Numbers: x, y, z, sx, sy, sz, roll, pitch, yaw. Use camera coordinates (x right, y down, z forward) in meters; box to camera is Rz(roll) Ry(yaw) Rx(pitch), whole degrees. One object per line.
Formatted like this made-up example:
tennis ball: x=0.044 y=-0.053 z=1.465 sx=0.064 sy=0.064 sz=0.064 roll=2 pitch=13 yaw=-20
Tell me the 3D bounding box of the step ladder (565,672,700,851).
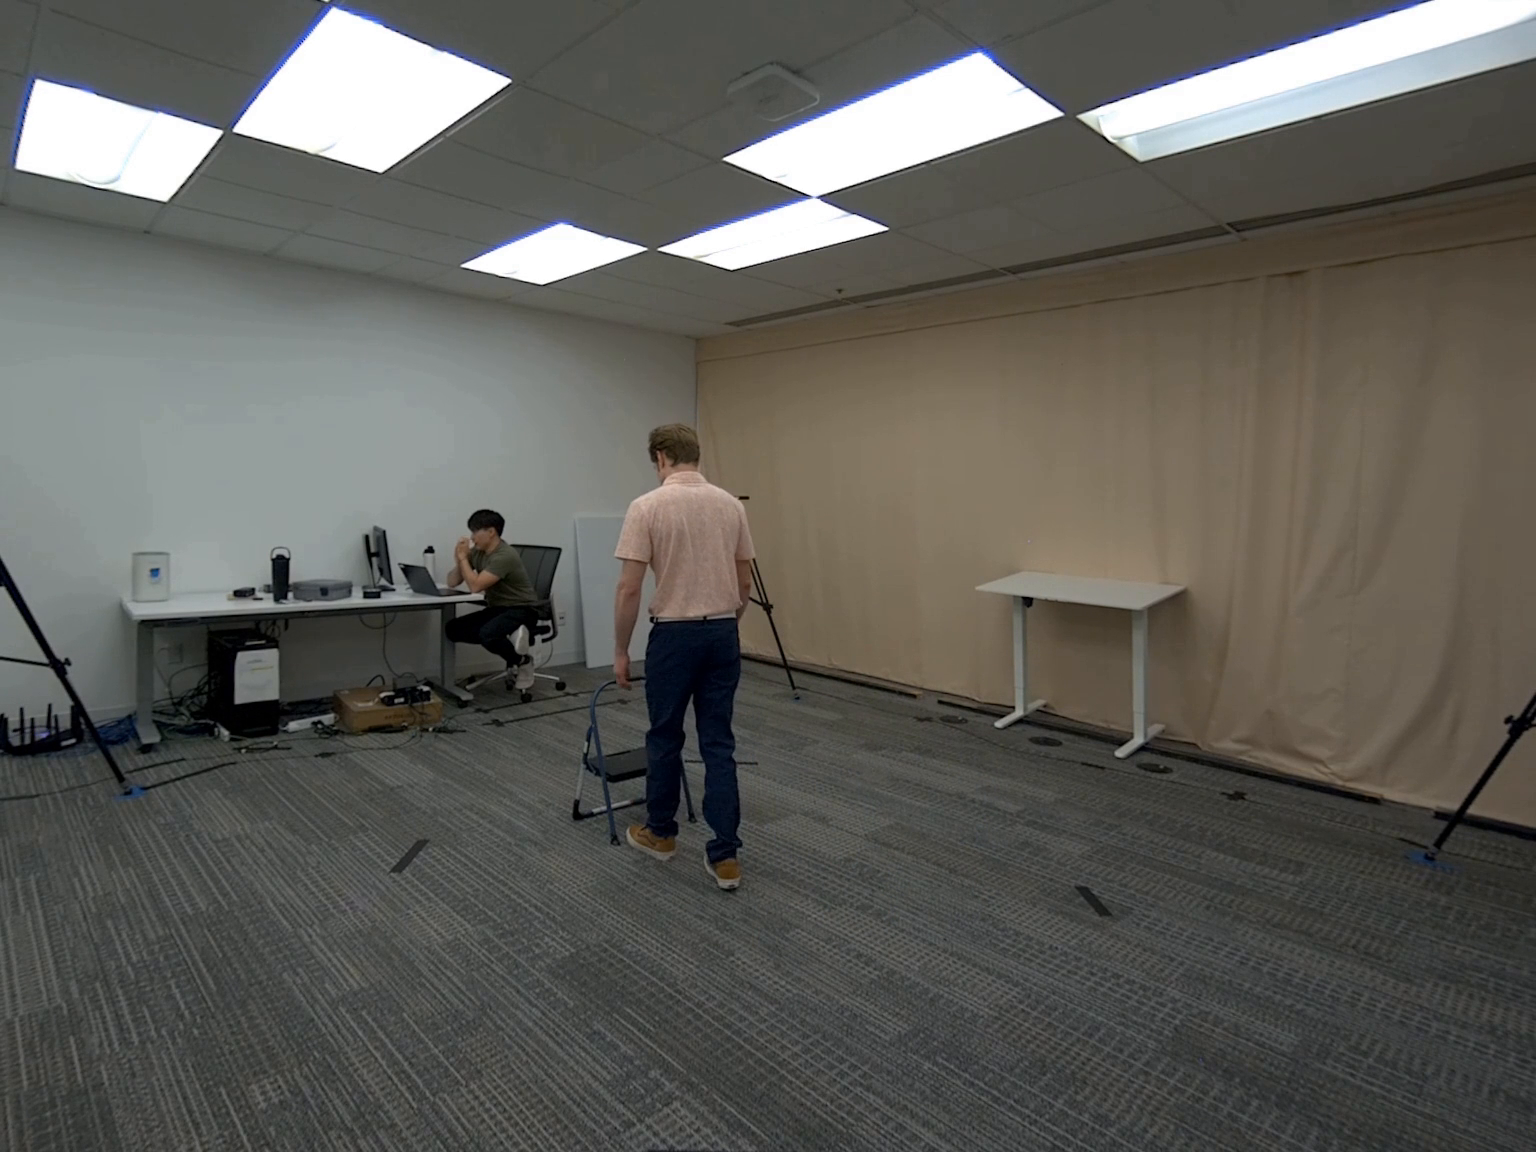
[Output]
step ladder: x=-0.574 y=0.756 z=3.598 sx=0.420 sy=0.605 sz=0.358 roll=-1 pitch=4 yaw=-44
